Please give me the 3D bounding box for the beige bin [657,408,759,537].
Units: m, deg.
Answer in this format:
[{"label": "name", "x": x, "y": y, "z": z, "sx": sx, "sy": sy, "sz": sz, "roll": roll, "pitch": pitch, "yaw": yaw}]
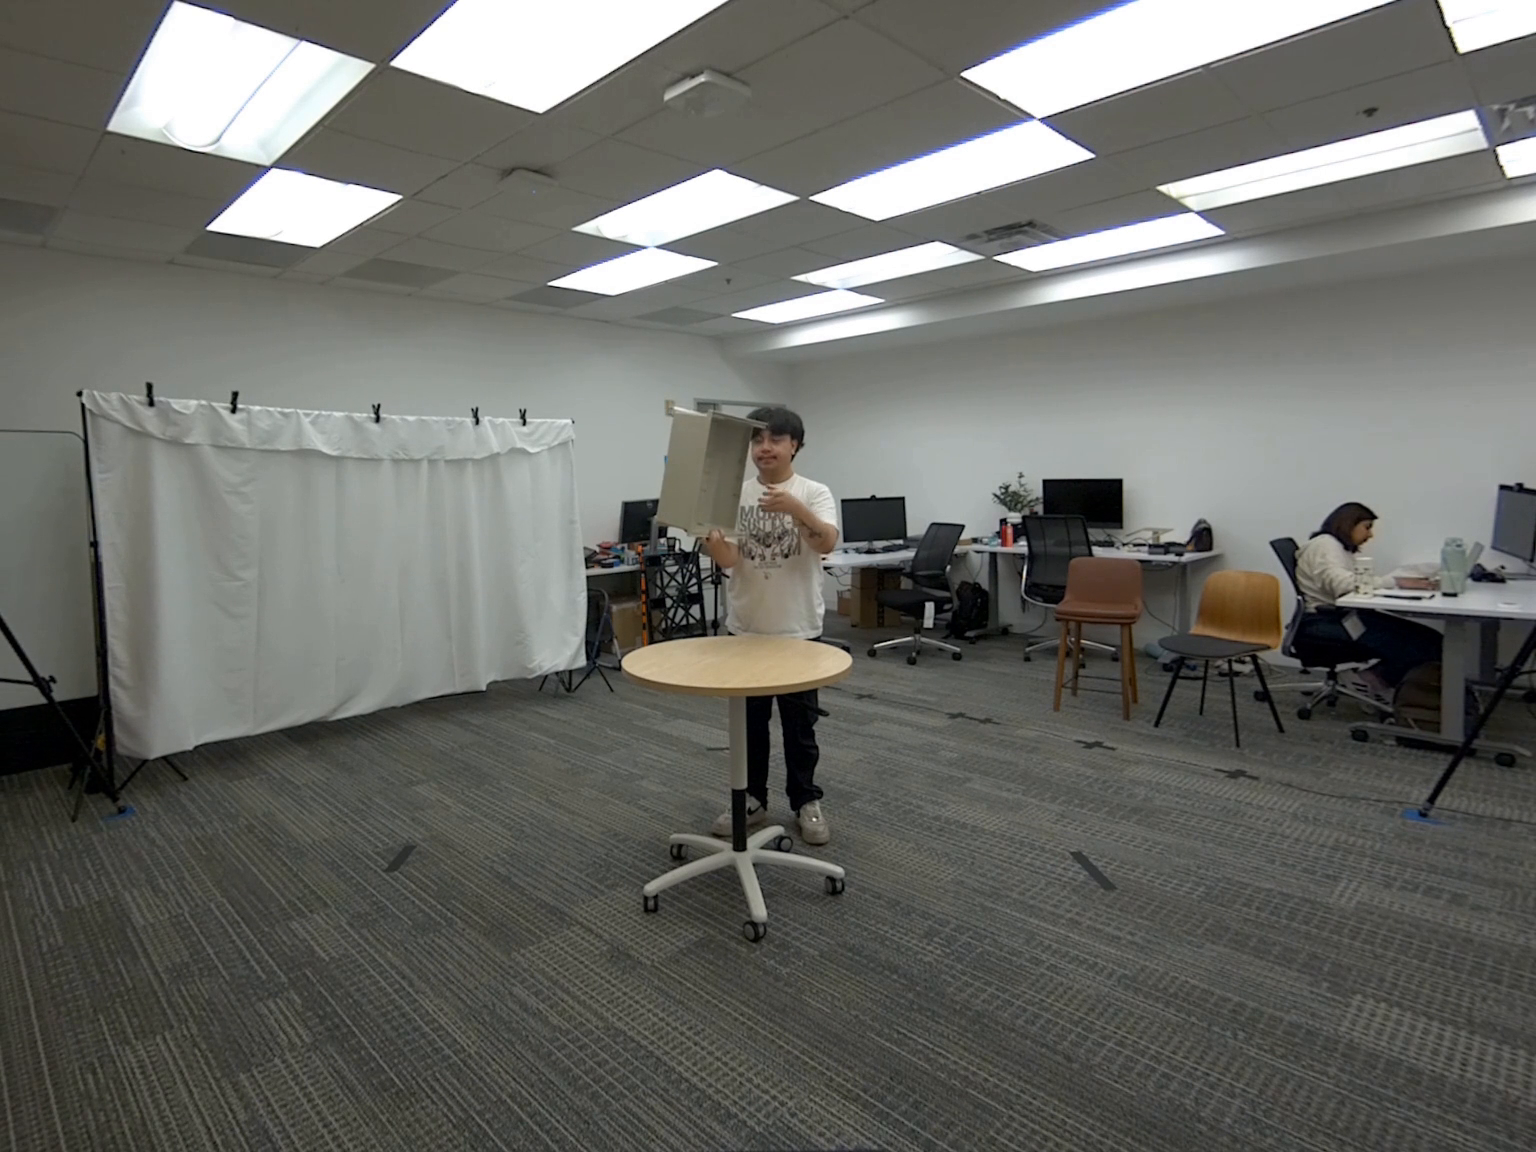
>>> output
[{"label": "beige bin", "x": -0.180, "y": -0.359, "z": 3.009, "sx": 0.195, "sy": 0.420, "sz": 0.366, "roll": 14, "pitch": 7, "yaw": 36}]
